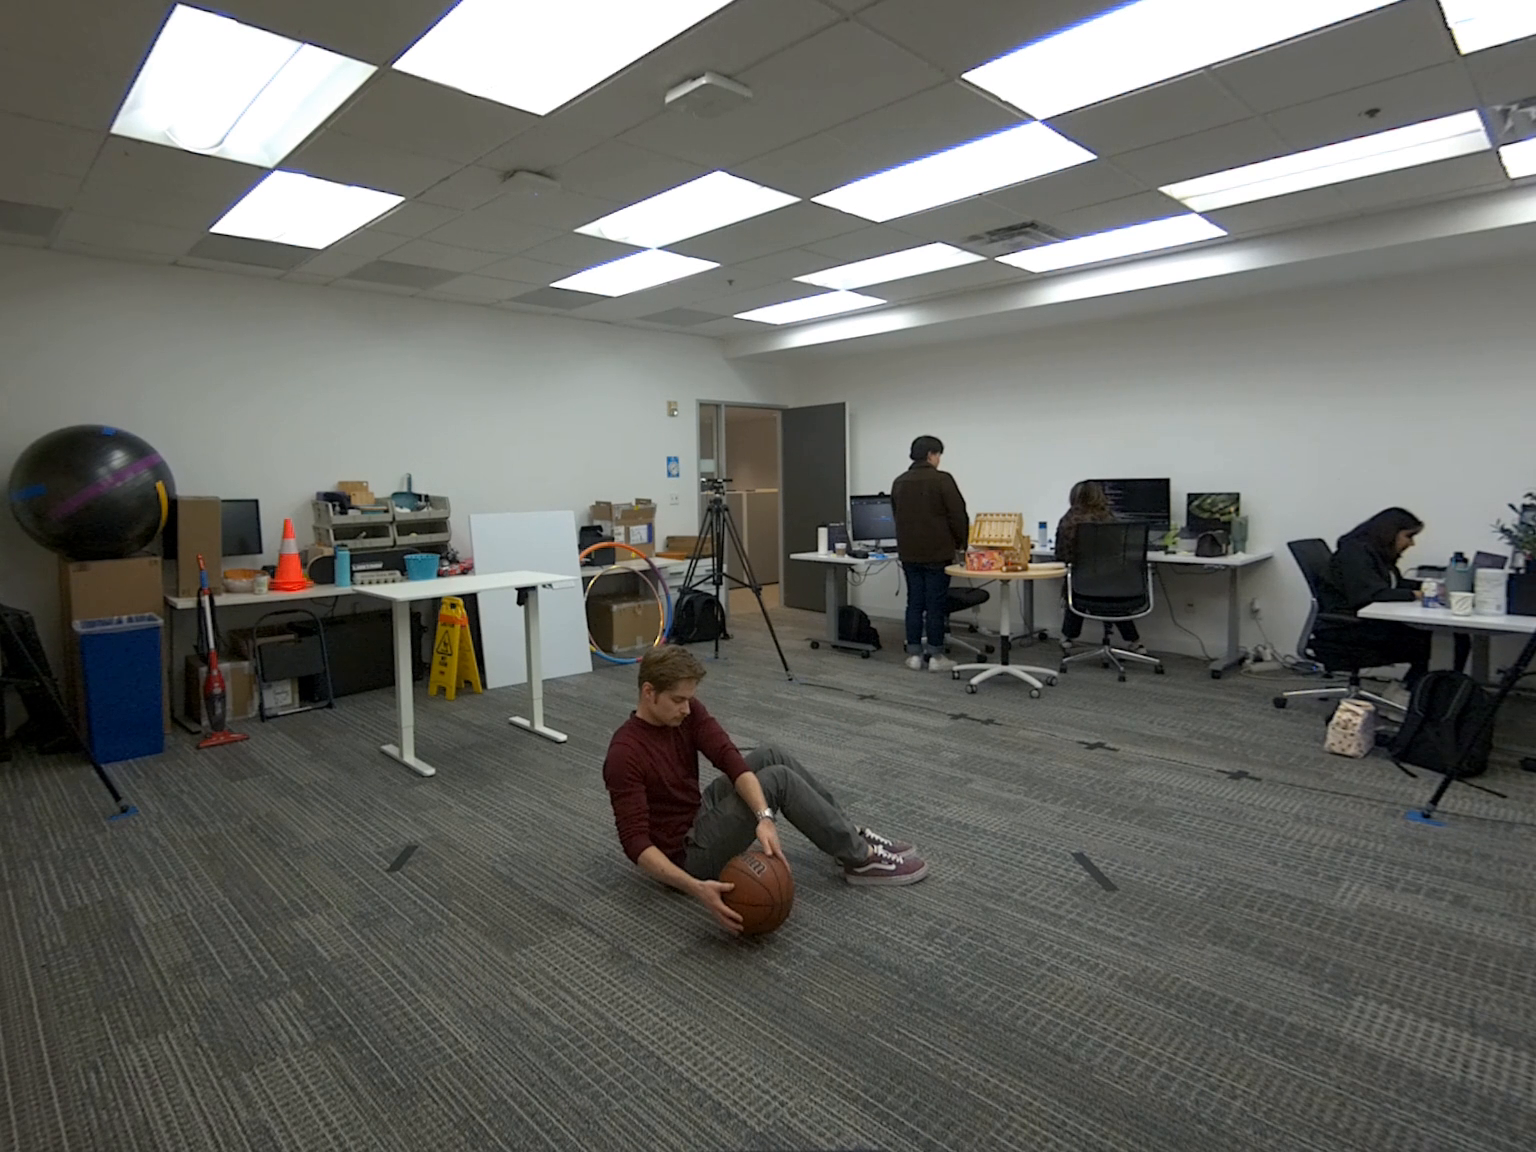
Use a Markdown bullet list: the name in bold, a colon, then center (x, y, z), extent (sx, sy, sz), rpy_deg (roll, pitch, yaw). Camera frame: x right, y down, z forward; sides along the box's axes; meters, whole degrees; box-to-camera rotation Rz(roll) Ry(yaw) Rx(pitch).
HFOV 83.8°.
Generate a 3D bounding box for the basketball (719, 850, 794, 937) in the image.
- **basketball**: center (-0.037, 0.963, 2.609), extent (0.236, 0.235, 0.237), rpy_deg (-1, 5, -2)
